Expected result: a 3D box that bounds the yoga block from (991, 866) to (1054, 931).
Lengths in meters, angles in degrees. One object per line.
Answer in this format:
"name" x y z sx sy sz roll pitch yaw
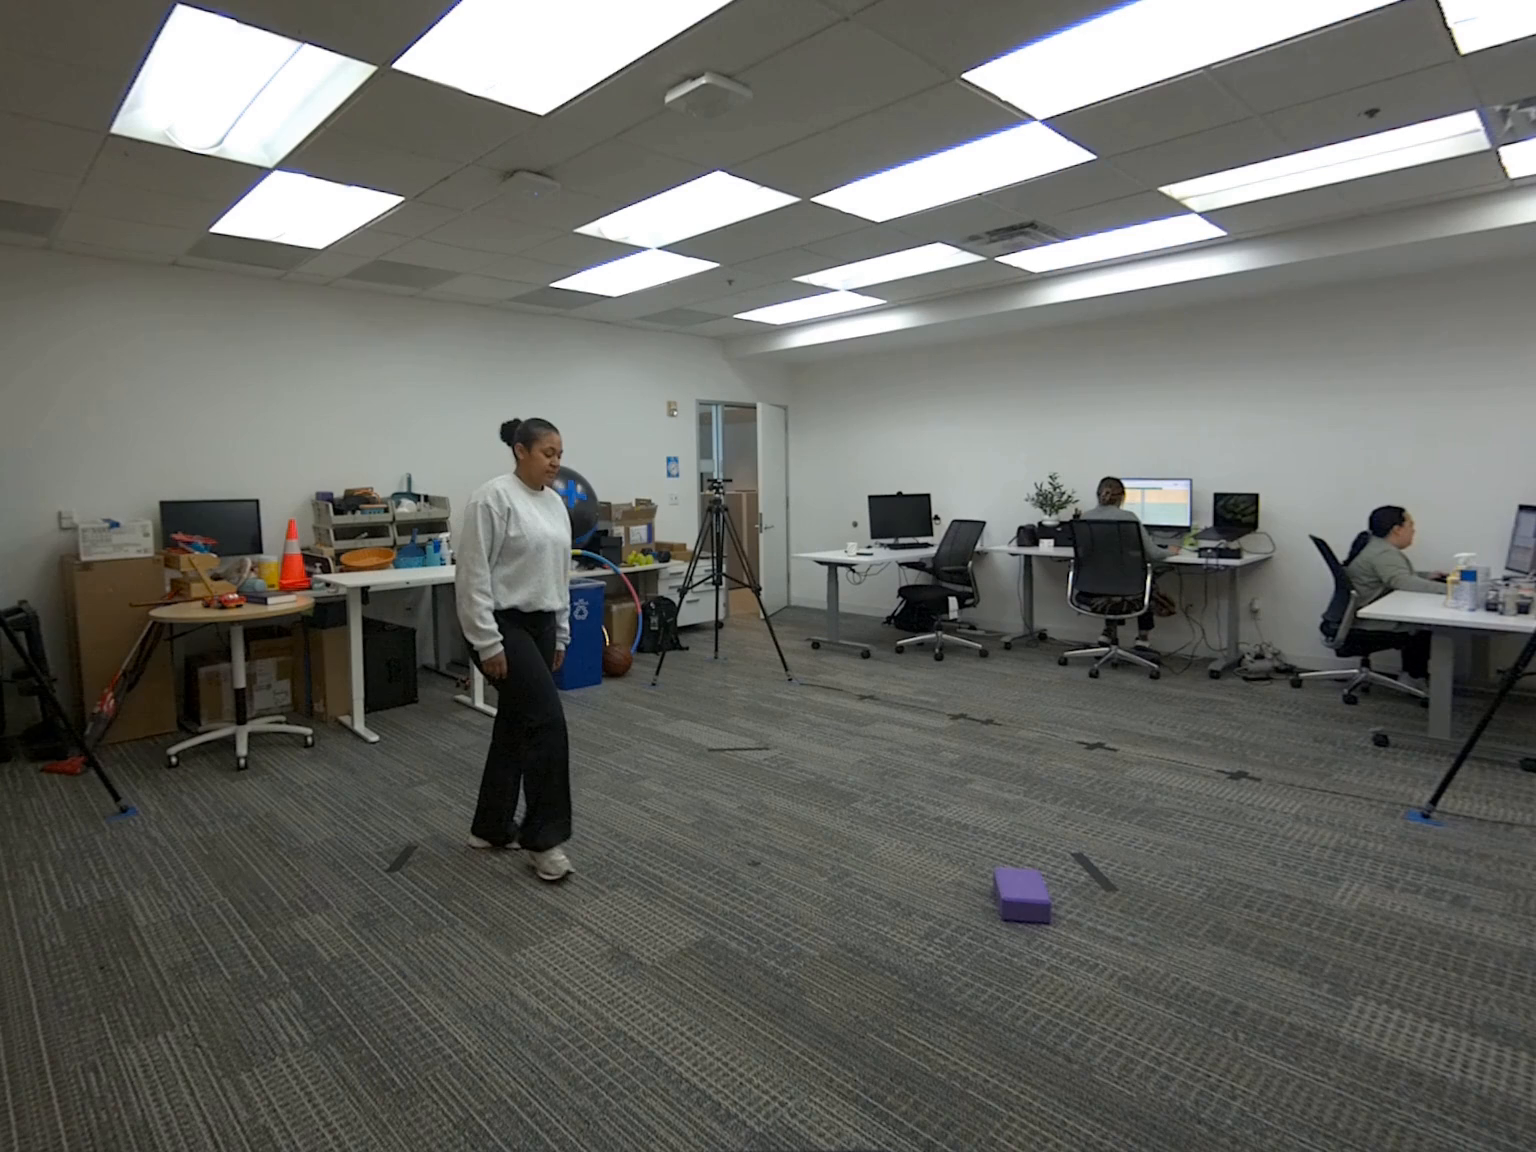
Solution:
"yoga block" 0.821 1.026 2.763 0.150 0.076 0.228 -3 6 9
